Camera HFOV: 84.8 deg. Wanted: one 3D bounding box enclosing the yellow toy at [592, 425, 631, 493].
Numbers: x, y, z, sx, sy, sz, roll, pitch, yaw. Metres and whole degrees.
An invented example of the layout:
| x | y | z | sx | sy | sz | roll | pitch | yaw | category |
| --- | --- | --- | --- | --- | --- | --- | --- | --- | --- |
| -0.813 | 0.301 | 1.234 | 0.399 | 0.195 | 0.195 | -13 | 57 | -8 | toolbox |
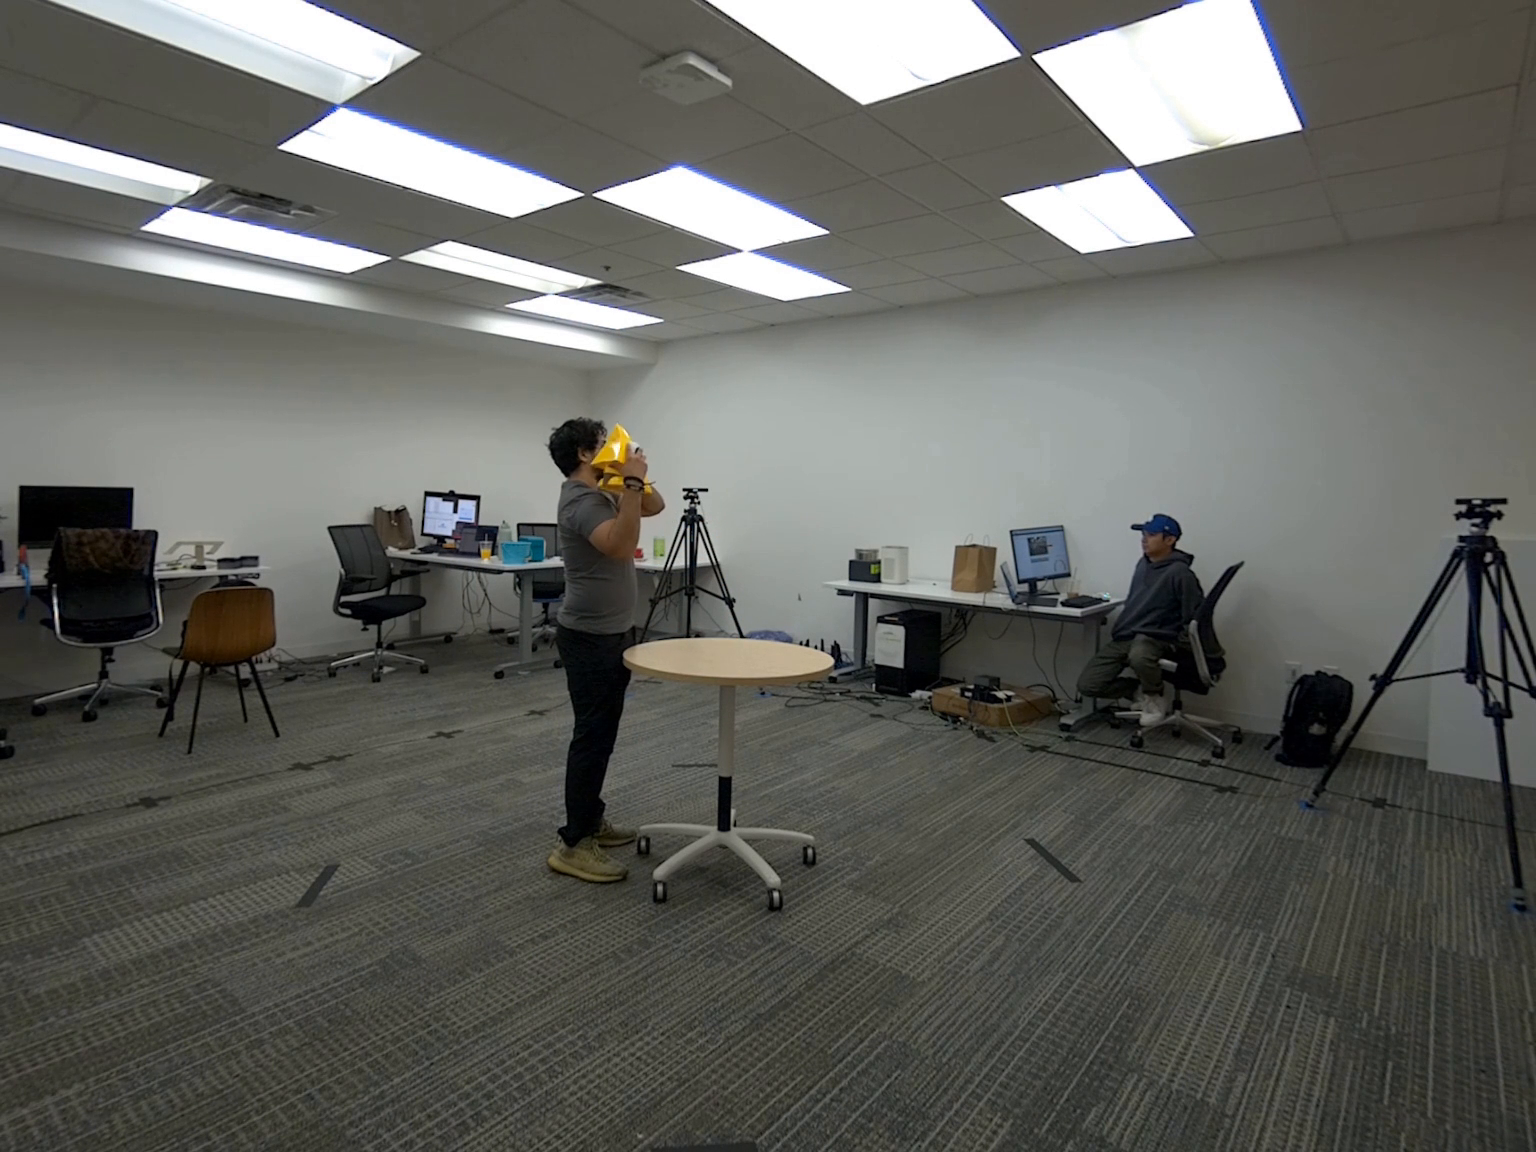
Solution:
| x | y | z | sx | sy | sz | roll | pitch | yaw | category |
| --- | --- | --- | --- | --- | --- | --- | --- | --- | --- |
| -0.524 | -0.433 | 3.093 | 0.186 | 0.232 | 0.211 | 13 | -8 | -38 | yellow toy |
